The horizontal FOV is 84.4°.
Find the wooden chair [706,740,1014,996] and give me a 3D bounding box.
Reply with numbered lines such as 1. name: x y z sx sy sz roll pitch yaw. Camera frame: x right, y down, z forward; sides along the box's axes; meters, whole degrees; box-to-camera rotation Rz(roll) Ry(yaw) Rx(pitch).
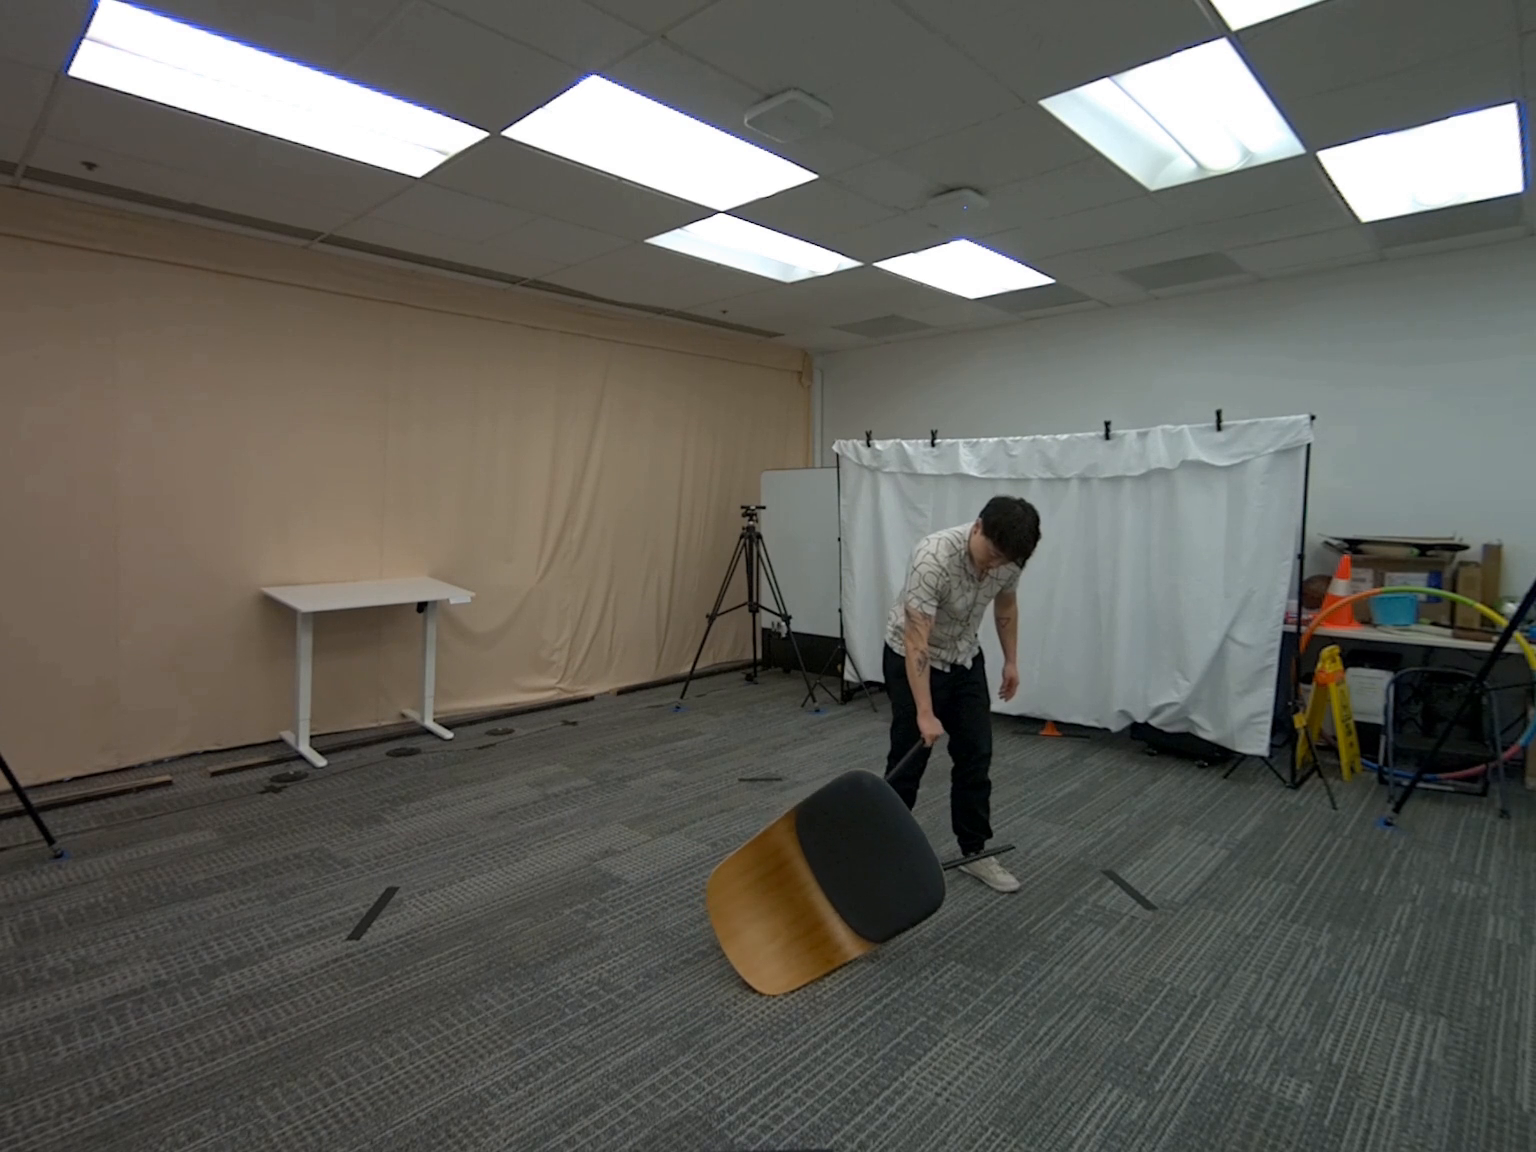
1. wooden chair: 0.294 0.877 2.605 0.852 0.489 0.526 -11 -29 -45
